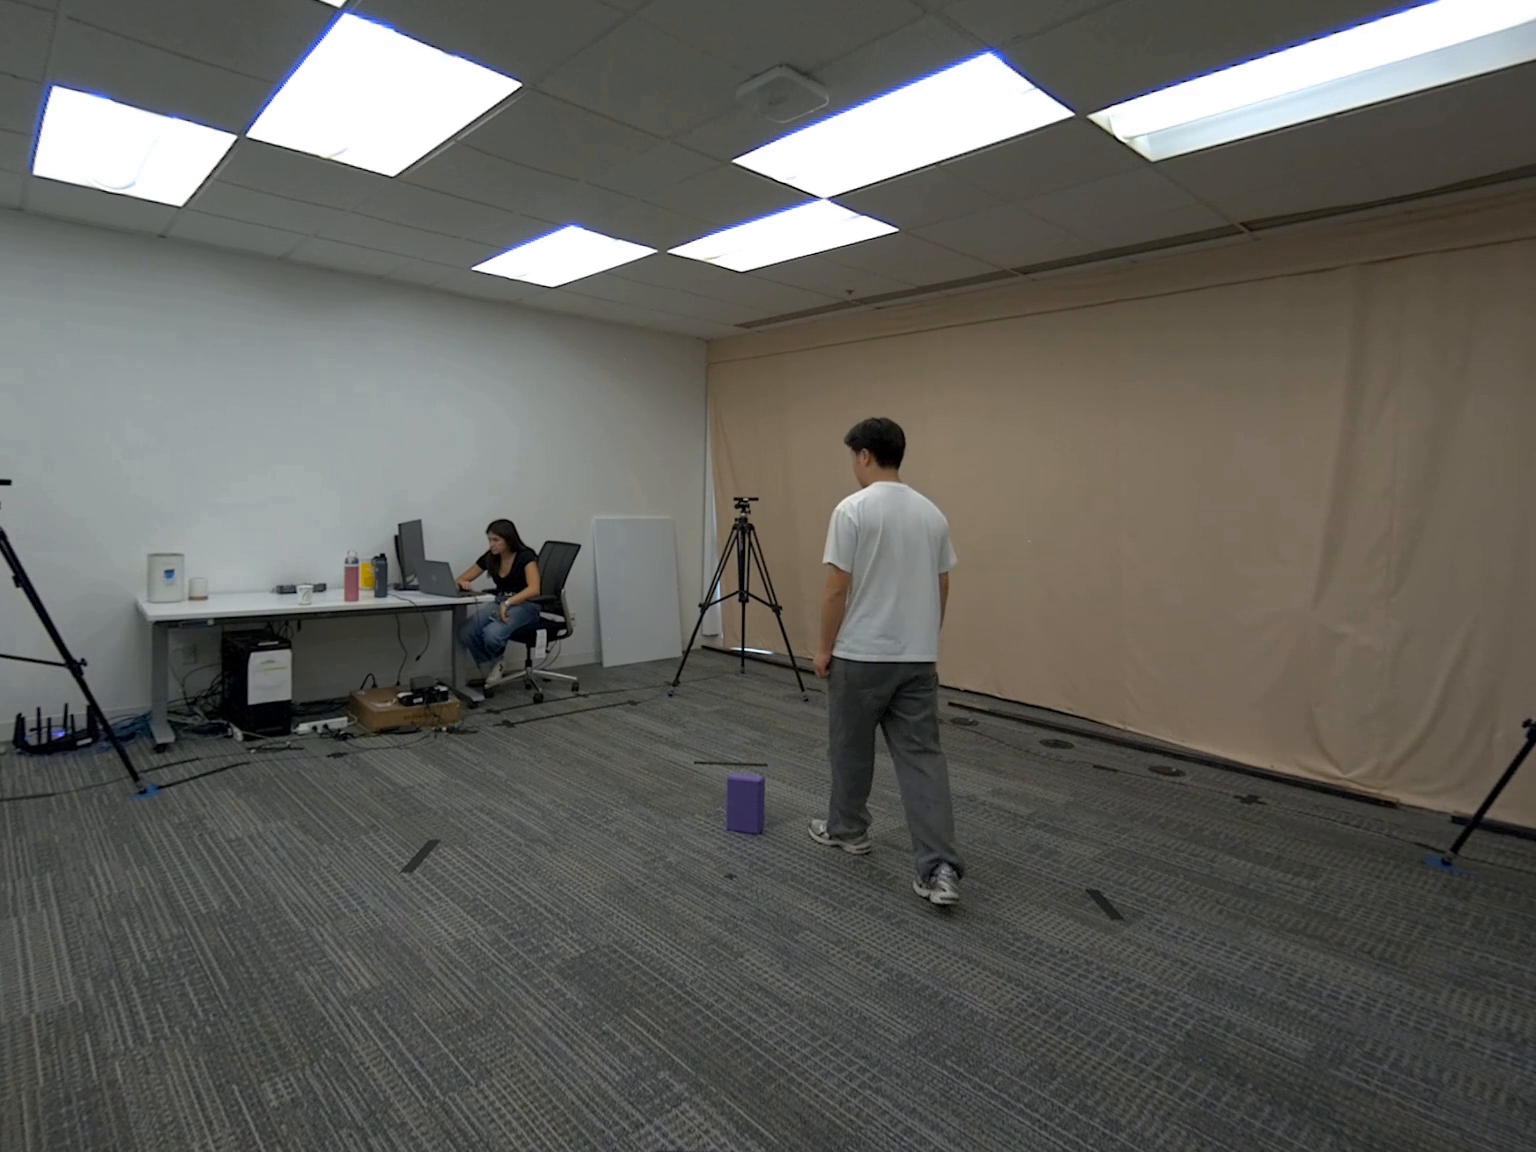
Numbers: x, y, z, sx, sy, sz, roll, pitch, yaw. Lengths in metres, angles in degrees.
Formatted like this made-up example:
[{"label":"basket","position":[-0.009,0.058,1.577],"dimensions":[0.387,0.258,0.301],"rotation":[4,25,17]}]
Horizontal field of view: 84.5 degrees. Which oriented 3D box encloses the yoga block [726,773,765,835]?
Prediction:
[{"label":"yoga block","position":[-0.109,0.954,3.544],"dimensions":[0.151,0.229,0.075],"rotation":[2,3,19]}]
